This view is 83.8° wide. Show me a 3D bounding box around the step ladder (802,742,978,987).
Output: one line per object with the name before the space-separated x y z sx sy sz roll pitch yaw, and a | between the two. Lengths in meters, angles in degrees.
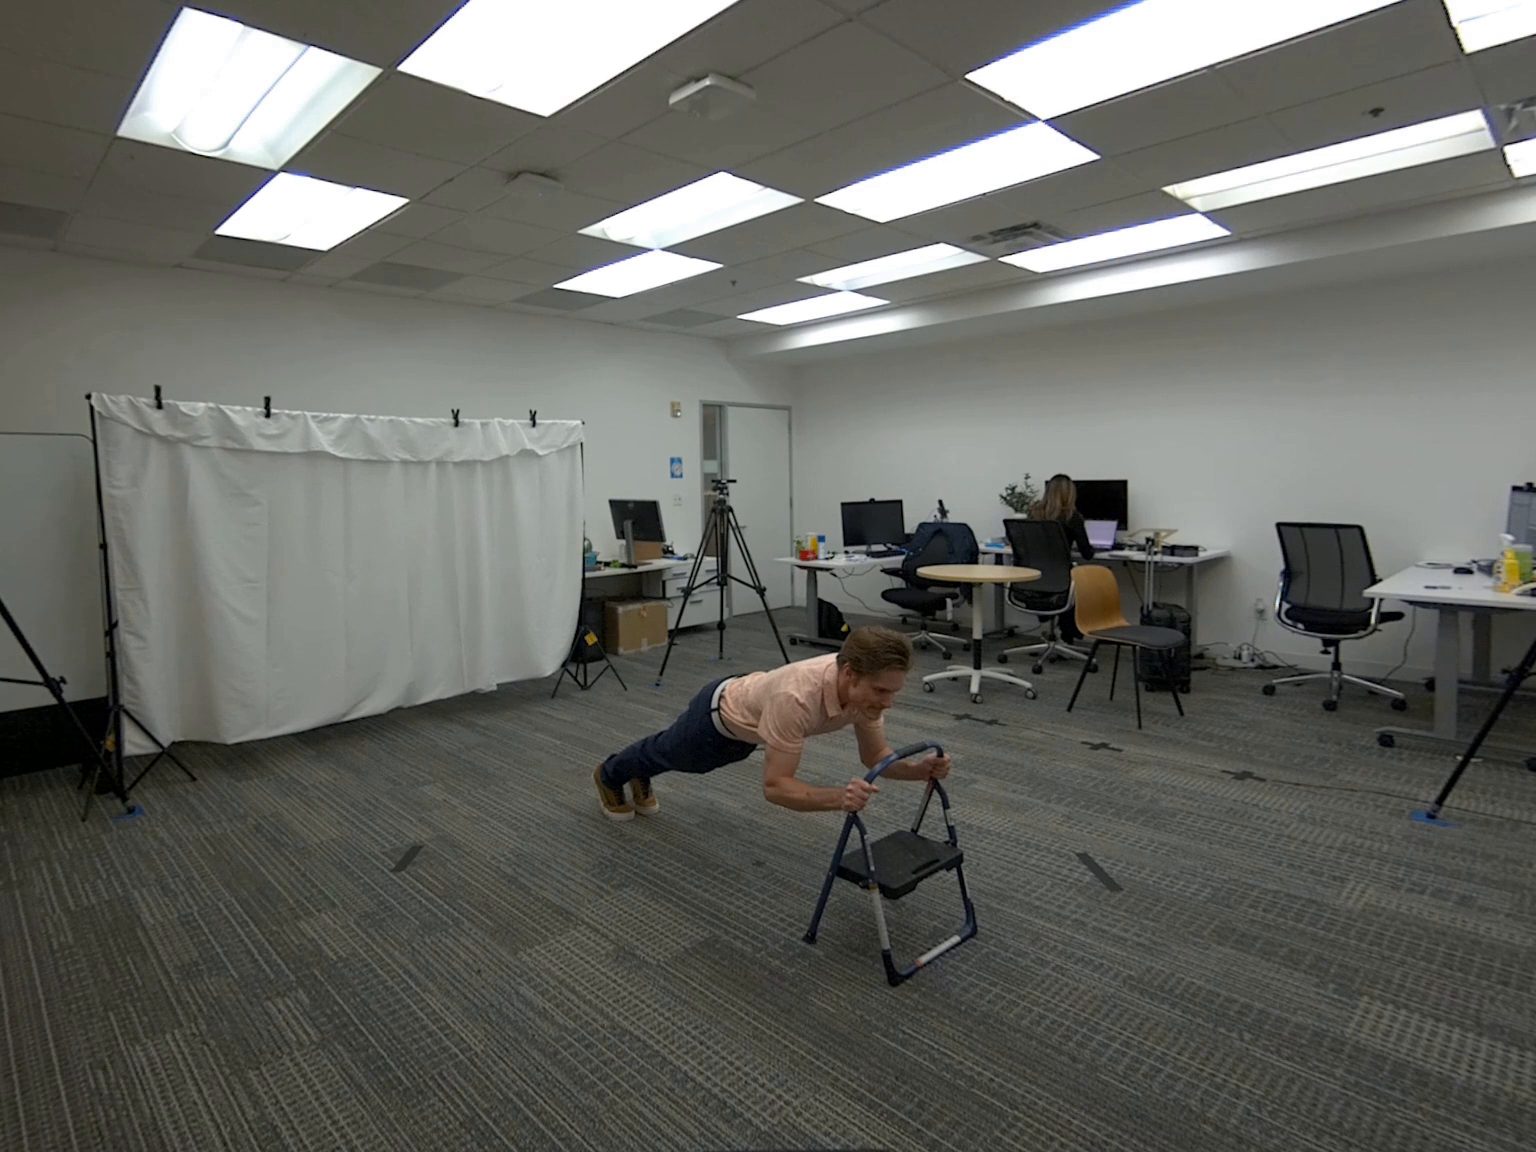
step ladder | 0.376 0.800 2.578 0.419 0.603 0.360 -5 7 -43
